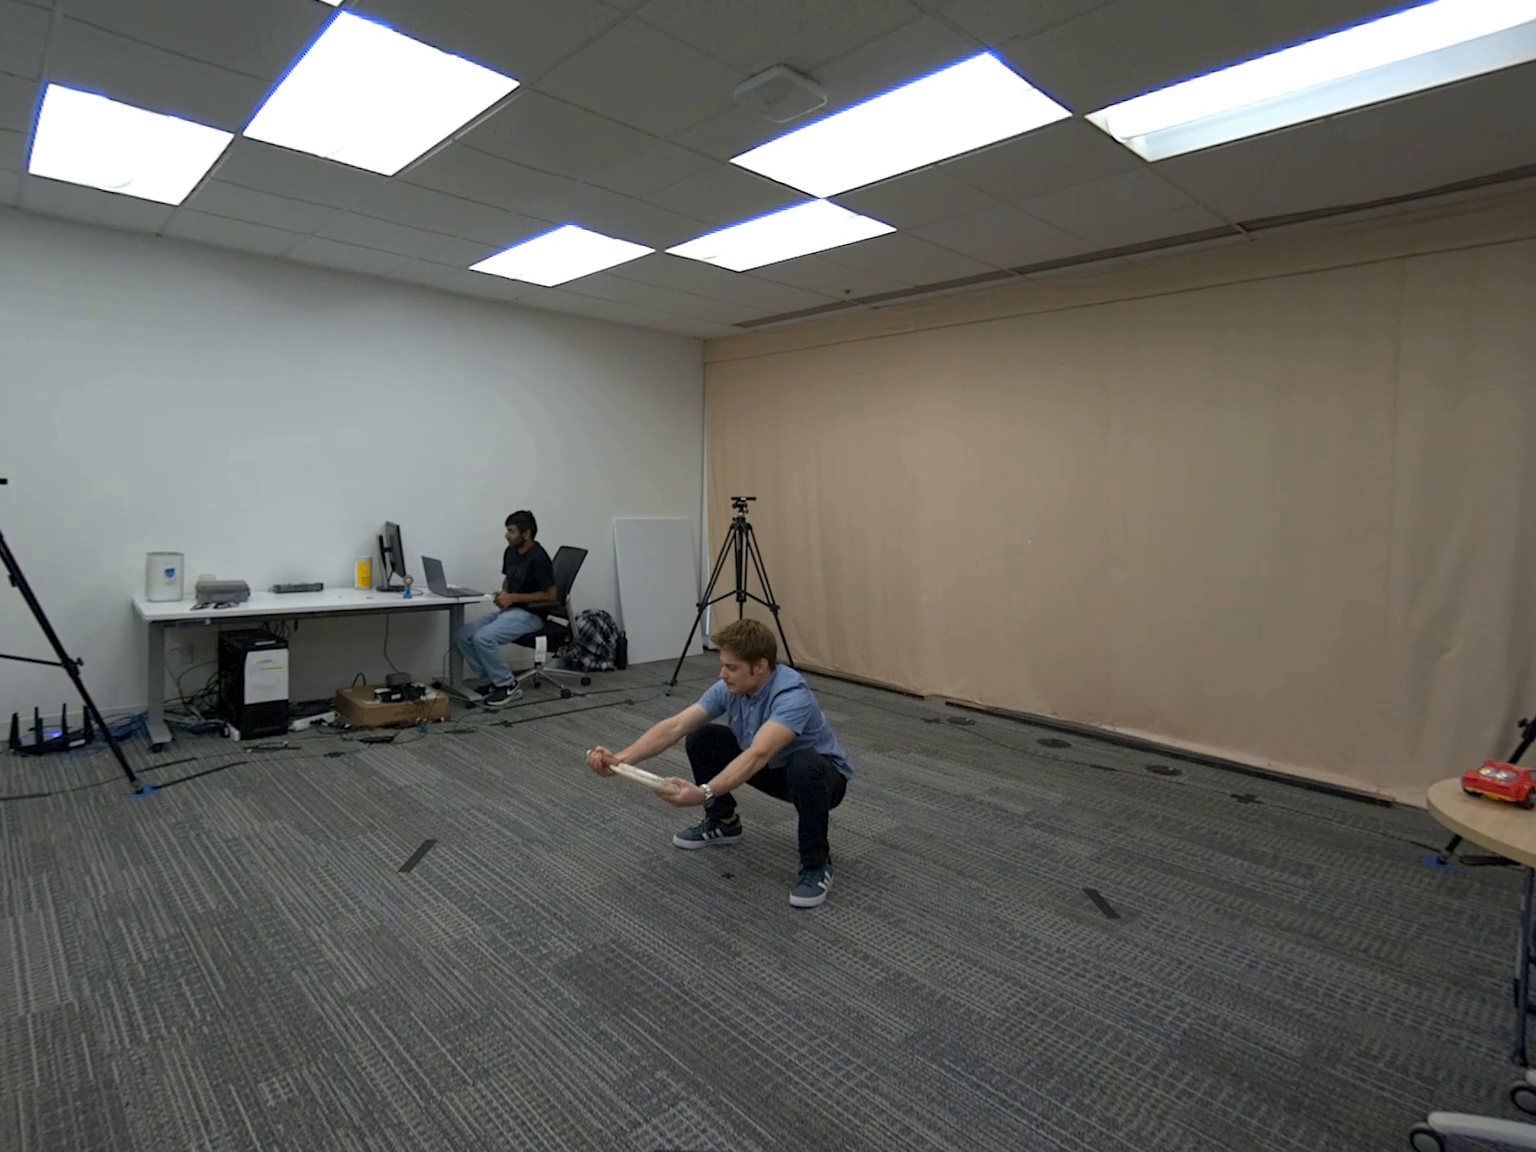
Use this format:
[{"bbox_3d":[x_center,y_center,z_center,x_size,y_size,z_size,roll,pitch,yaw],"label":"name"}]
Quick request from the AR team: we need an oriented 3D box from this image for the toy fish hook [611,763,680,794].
[{"bbox_3d":[-0.479,0.632,2.762,0.520,0.048,0.217,7,-23,46],"label":"toy fish hook"}]
